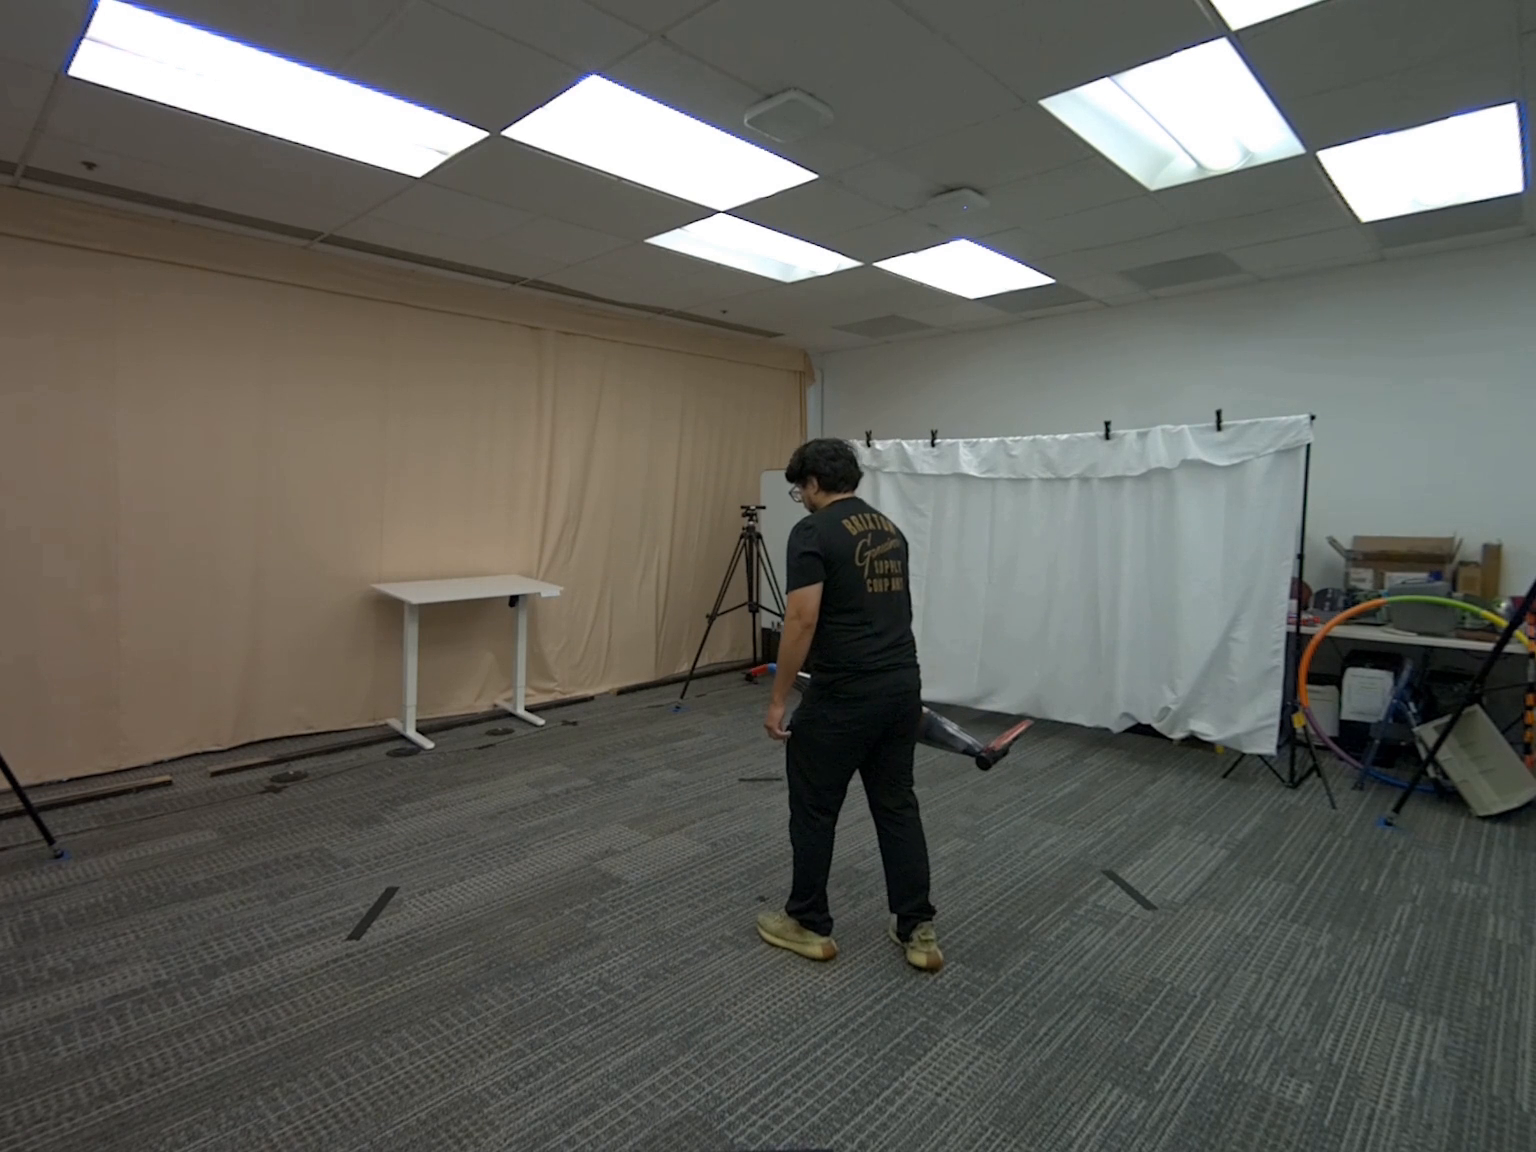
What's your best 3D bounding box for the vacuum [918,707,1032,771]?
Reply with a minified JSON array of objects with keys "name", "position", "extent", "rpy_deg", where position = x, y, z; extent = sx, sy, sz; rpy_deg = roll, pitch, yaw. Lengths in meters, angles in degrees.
[{"name":"vacuum","position":[0.362,0.464,2.983],"extent":[0.246,0.142,1.087],"rpy_deg":[-16,19,-42]}]
